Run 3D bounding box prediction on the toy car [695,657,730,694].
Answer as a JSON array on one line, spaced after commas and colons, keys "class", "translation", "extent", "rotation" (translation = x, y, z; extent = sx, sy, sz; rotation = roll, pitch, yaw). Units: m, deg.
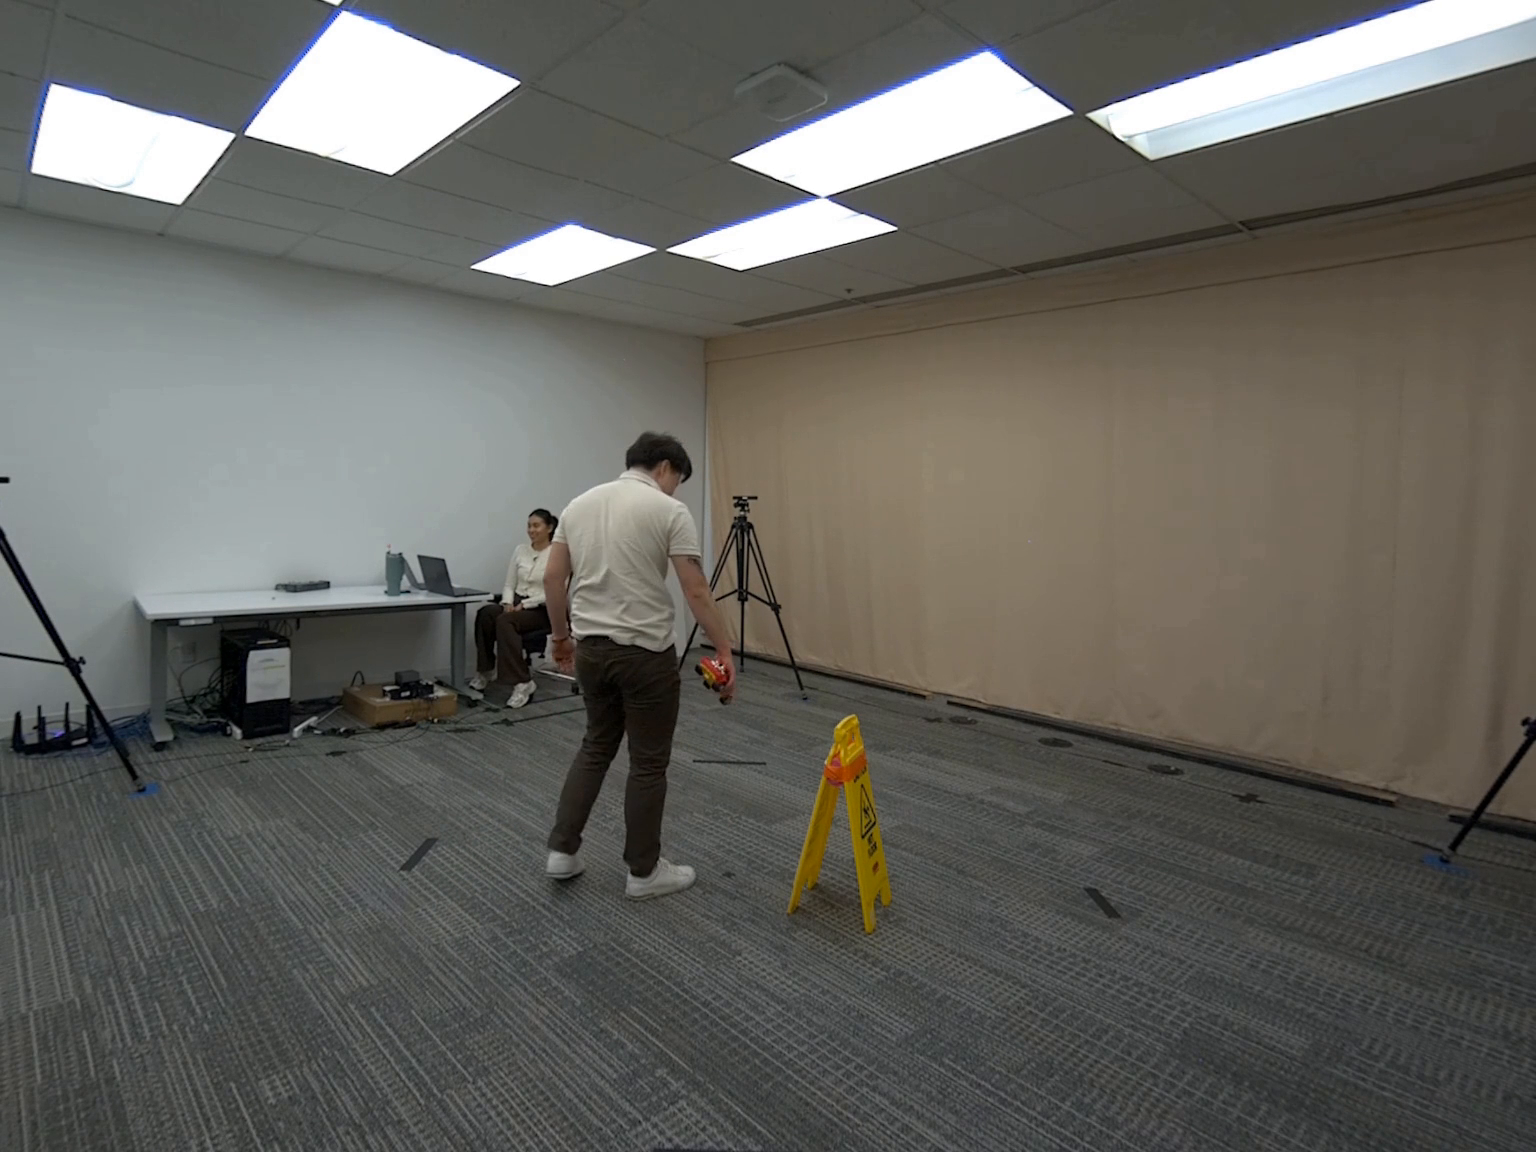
[{"class": "toy car", "translation": [-0.203, 0.367, 2.908], "extent": [0.083, 0.249, 0.134], "rotation": [-35, 61, -21]}]
